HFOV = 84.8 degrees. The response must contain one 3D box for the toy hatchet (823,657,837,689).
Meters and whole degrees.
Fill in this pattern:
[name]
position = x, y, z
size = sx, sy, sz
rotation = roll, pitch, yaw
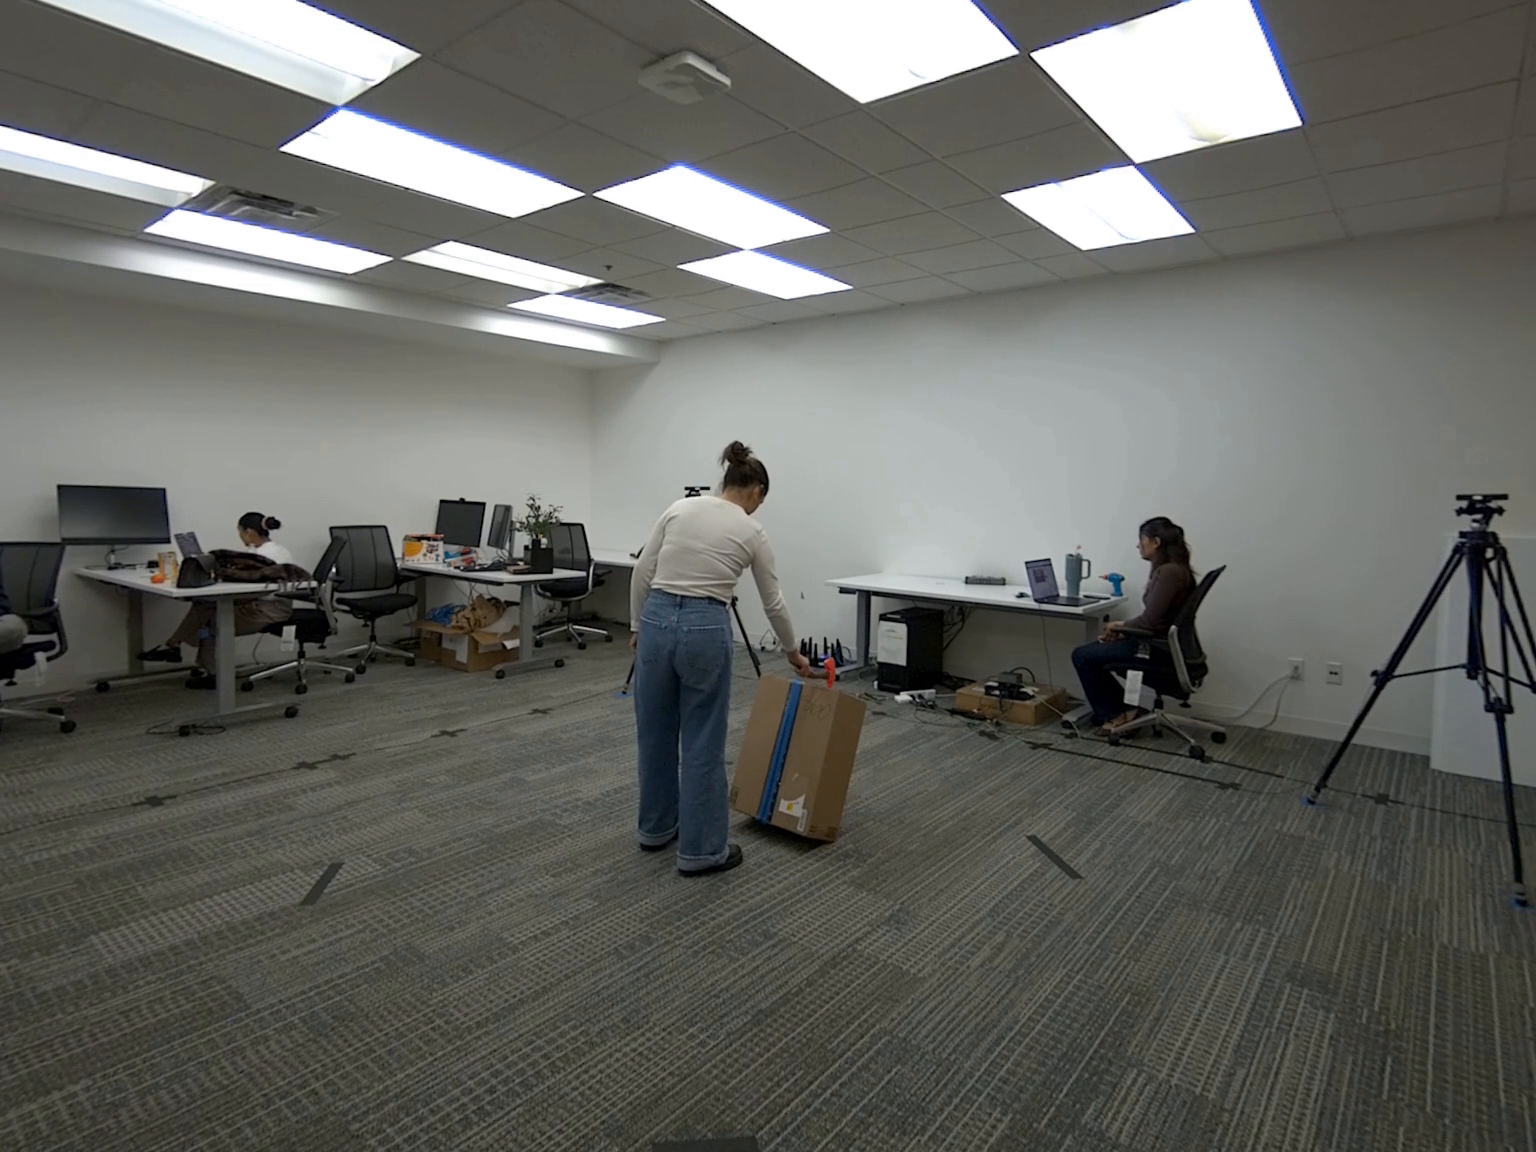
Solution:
[toy hatchet]
position = 0.190, 0.355, 3.407
size = 0.030, 0.132, 0.259
rotation = 7, -19, 38
